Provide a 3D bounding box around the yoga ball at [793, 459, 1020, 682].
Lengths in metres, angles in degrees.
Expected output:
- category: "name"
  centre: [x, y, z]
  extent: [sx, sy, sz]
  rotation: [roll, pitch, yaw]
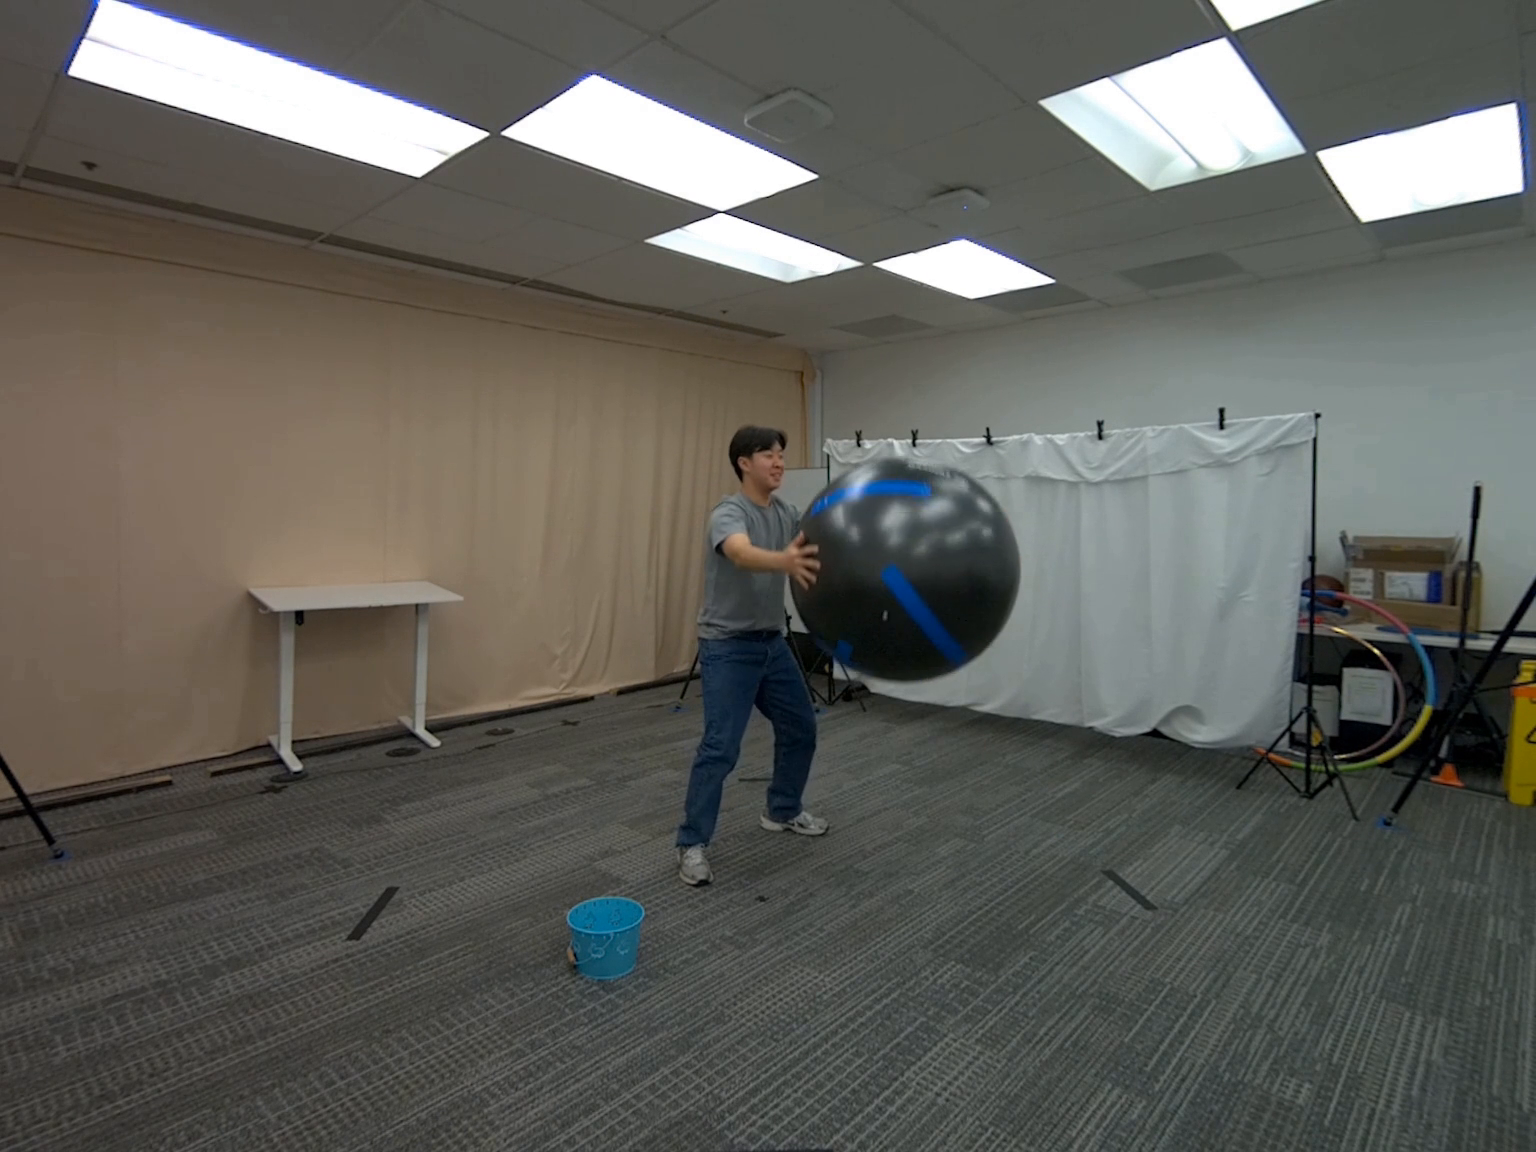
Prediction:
- category: "yoga ball"
  centre: [0.439, -0.017, 2.868]
  extent: [0.757, 0.756, 0.760]
  rotation: [0, 4, -2]
